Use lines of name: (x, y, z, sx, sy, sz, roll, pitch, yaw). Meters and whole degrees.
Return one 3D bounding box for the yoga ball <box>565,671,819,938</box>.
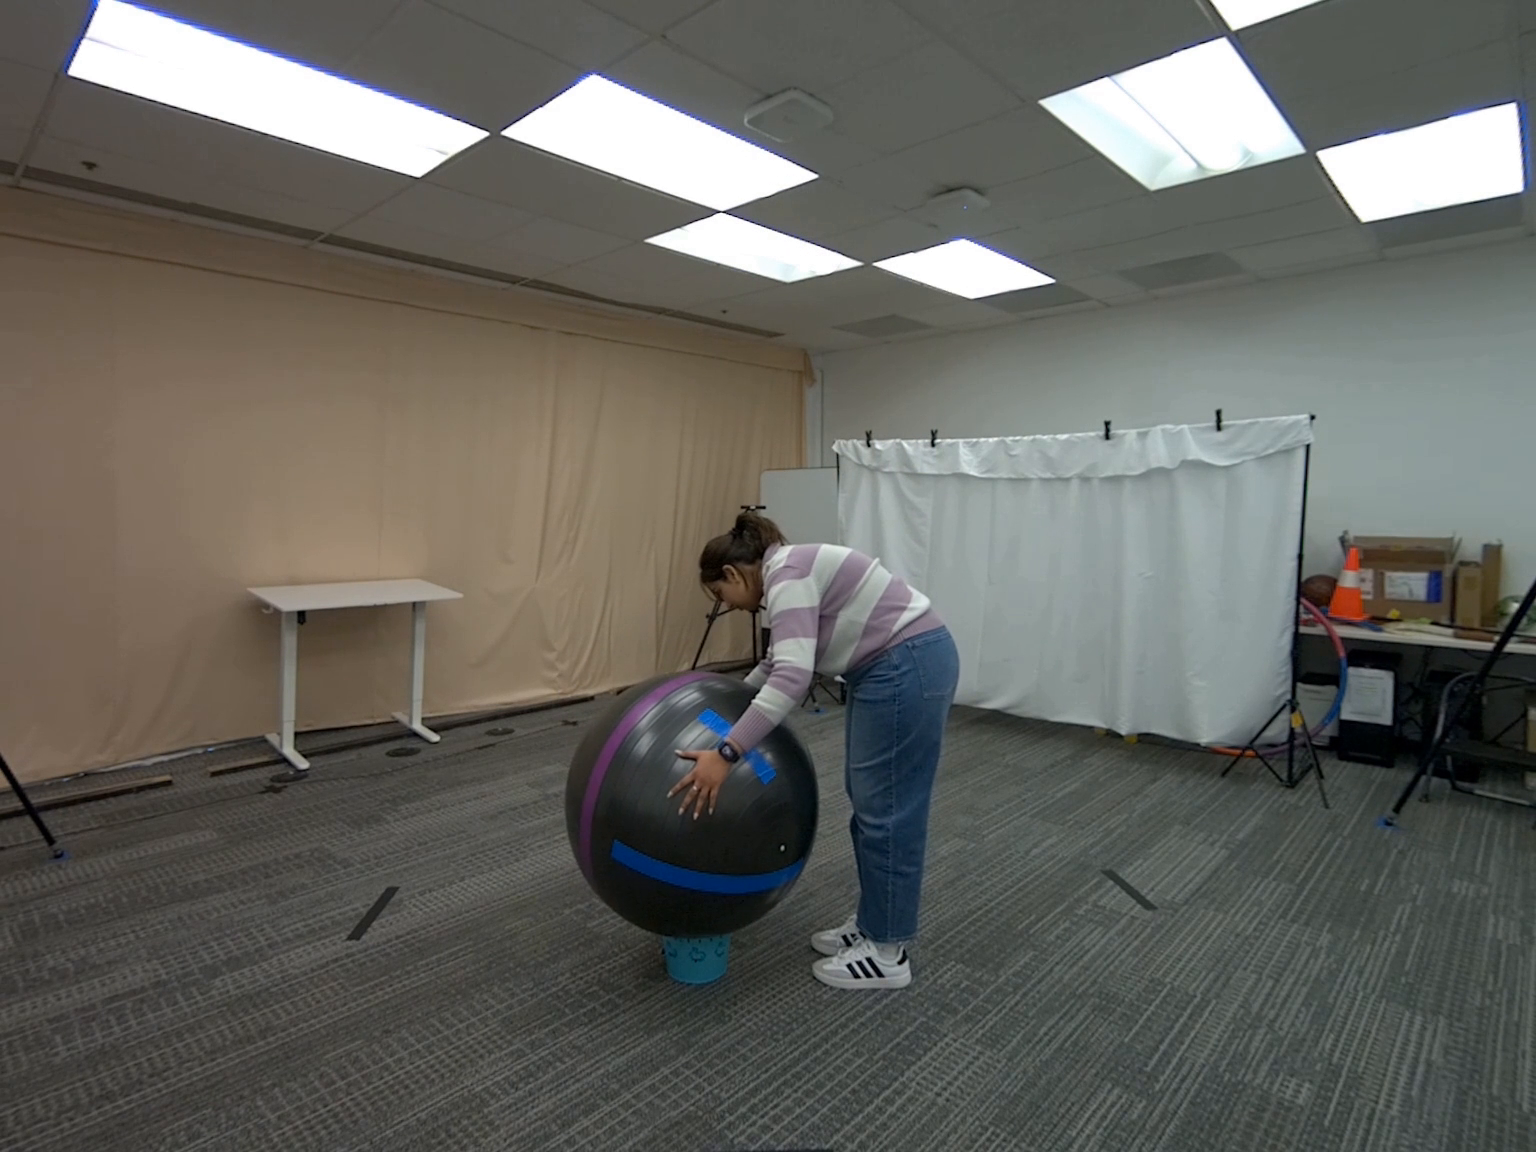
yoga ball: (-0.225, 0.674, 2.518, 0.757, 0.756, 0.761, 0, 4, -2)
